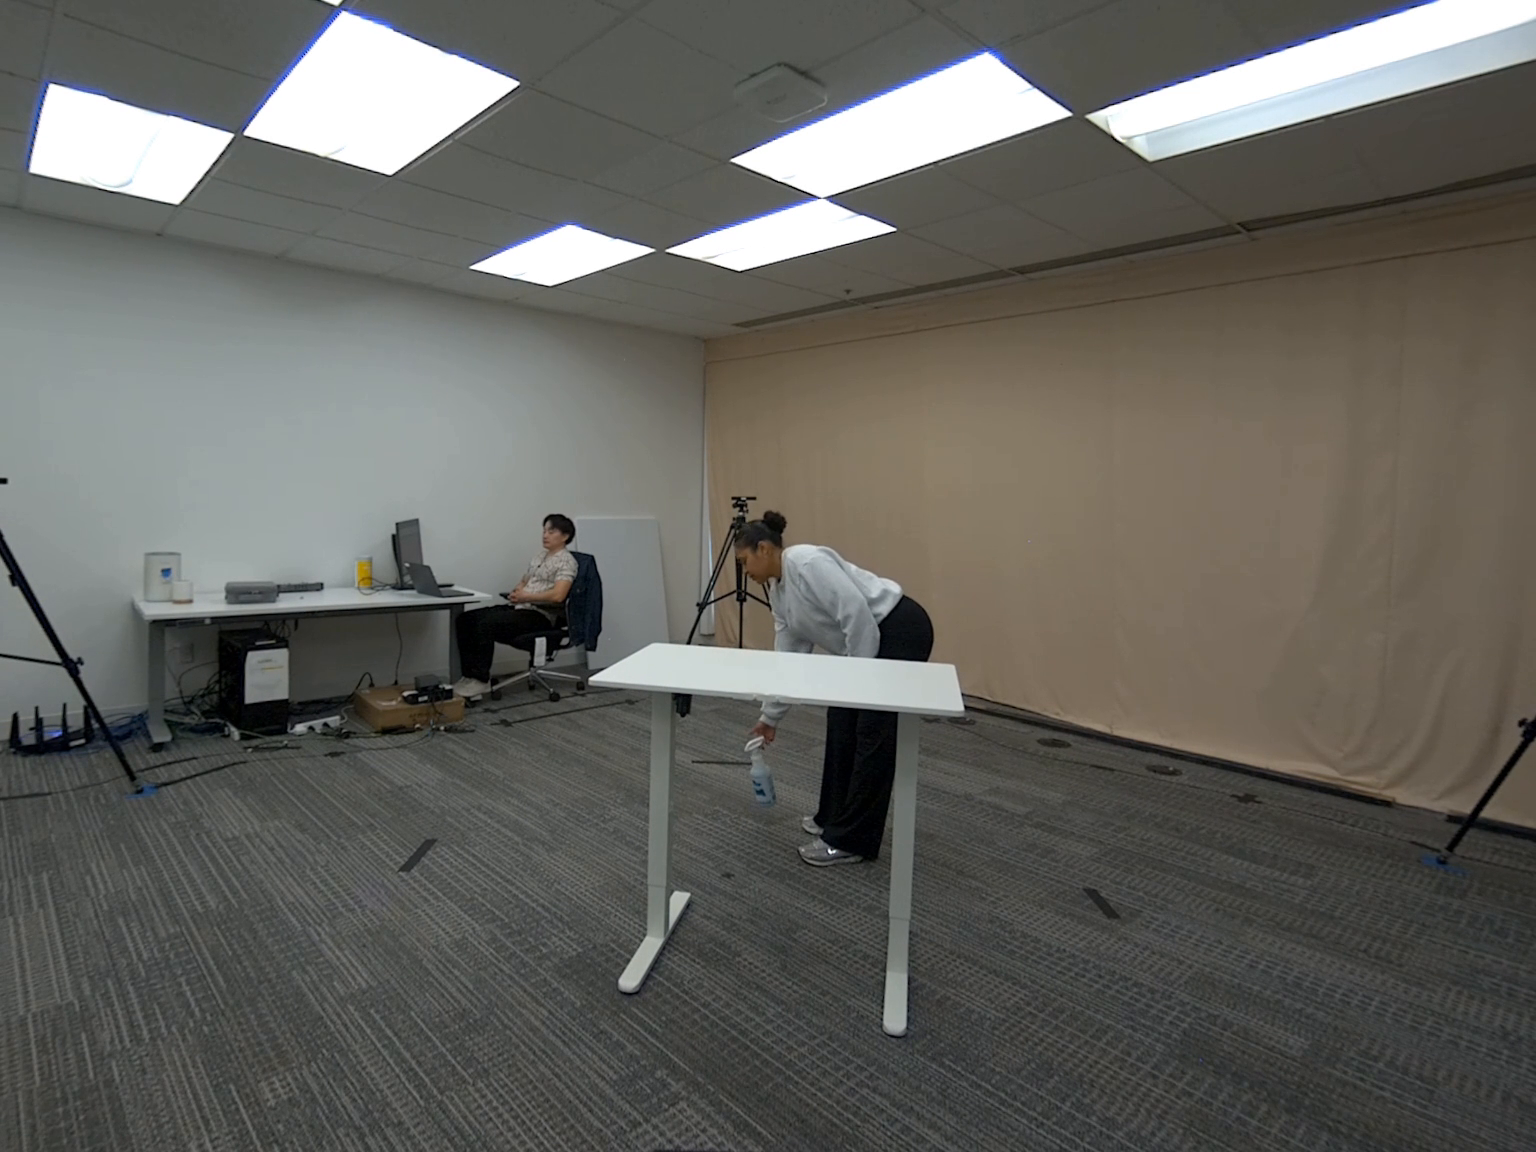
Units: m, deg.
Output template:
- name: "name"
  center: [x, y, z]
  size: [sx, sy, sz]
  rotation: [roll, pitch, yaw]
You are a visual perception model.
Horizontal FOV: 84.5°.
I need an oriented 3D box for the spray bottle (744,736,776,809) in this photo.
- name: "spray bottle"
  center: [-0.039, 0.807, 3.522]
  size: [0.090, 0.293, 0.088]
  rotation: [-8, 15, 7]
